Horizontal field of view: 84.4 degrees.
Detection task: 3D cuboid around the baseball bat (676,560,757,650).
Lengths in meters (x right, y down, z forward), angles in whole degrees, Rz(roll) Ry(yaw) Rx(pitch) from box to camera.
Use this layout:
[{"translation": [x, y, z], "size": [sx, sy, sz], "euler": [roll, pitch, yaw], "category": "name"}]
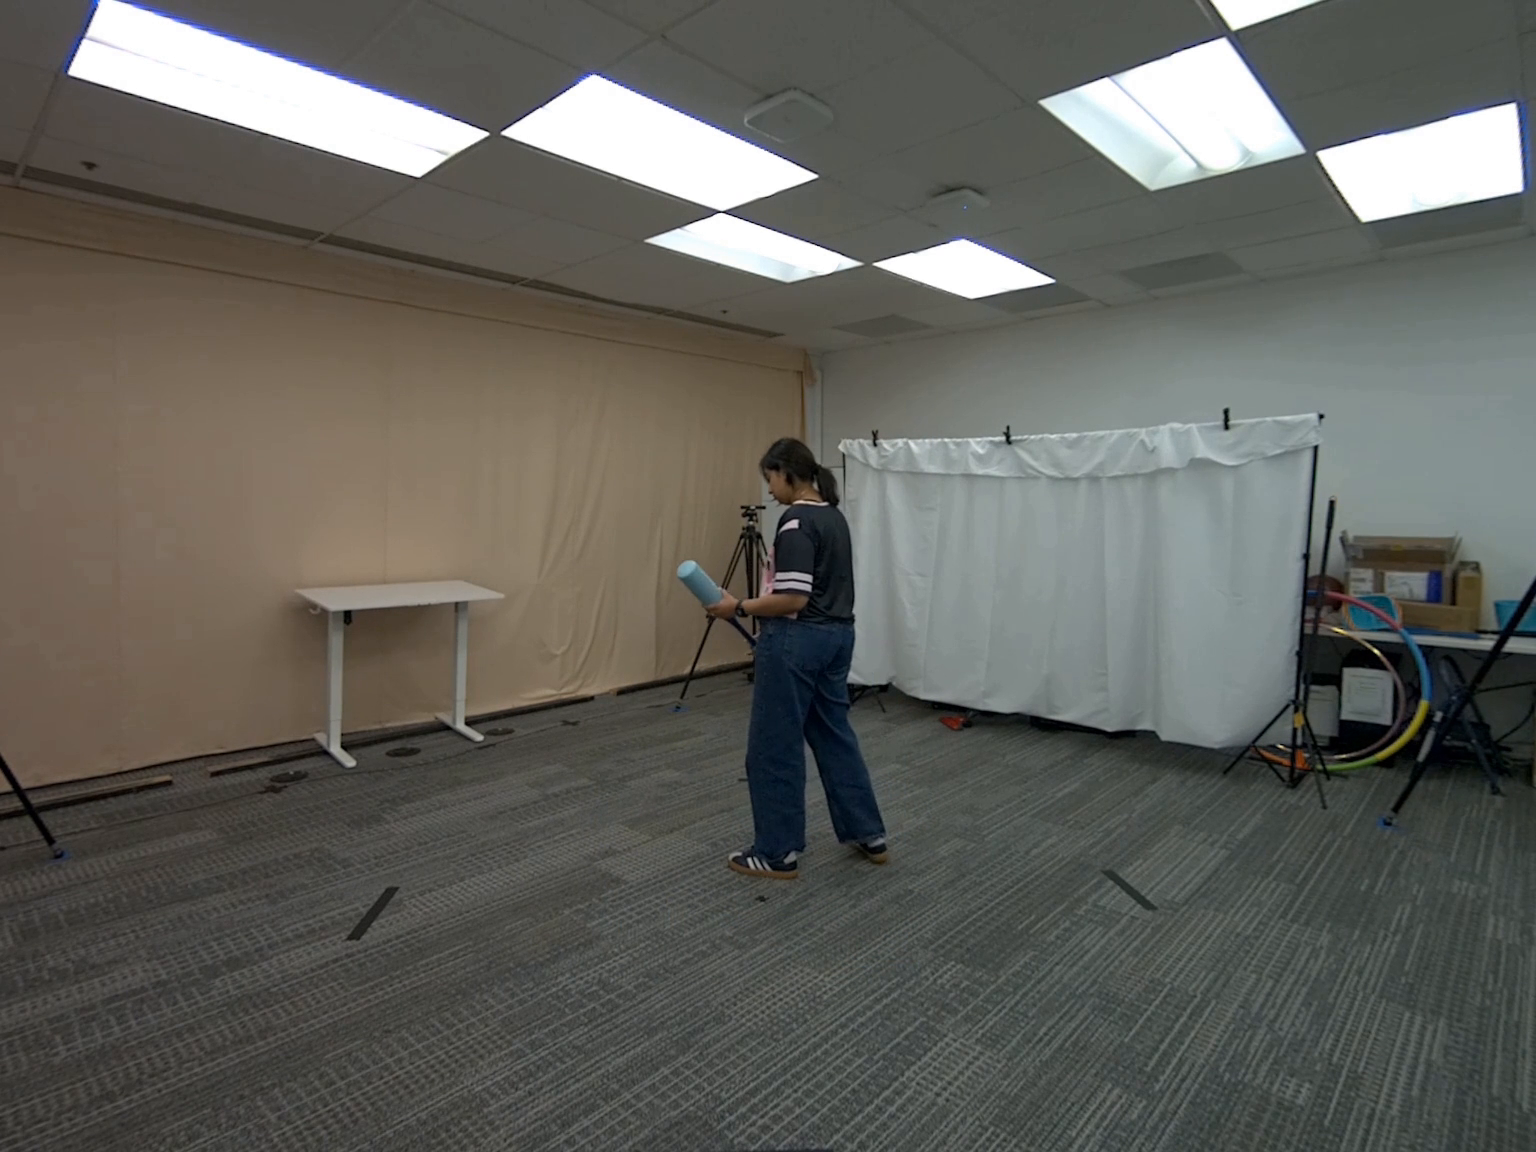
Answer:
[{"translation": [-0.169, 0.140, 3.253], "size": [0.092, 0.089, 0.526], "euler": [3, -38, 44], "category": "baseball bat"}]
